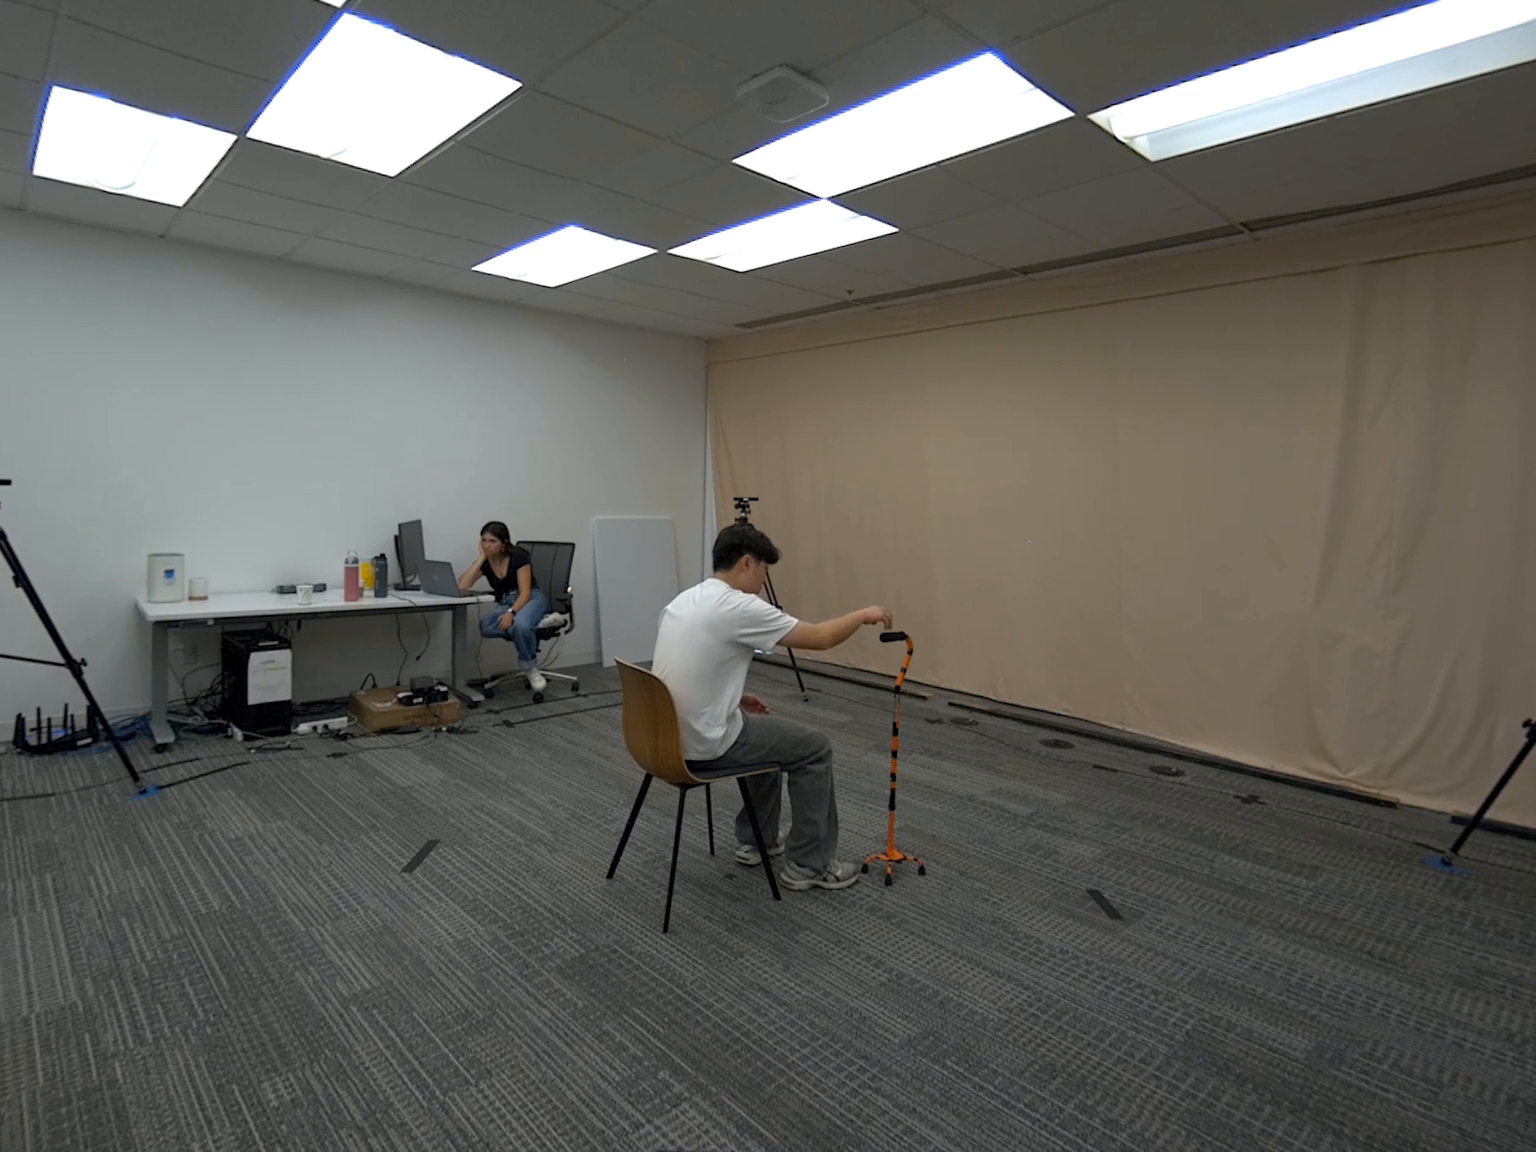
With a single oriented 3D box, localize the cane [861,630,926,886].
[{"bbox_3d":[0.483,0.664,3.136,0.202,0.907,0.155,1,2,-37],"label":"cane"}]
